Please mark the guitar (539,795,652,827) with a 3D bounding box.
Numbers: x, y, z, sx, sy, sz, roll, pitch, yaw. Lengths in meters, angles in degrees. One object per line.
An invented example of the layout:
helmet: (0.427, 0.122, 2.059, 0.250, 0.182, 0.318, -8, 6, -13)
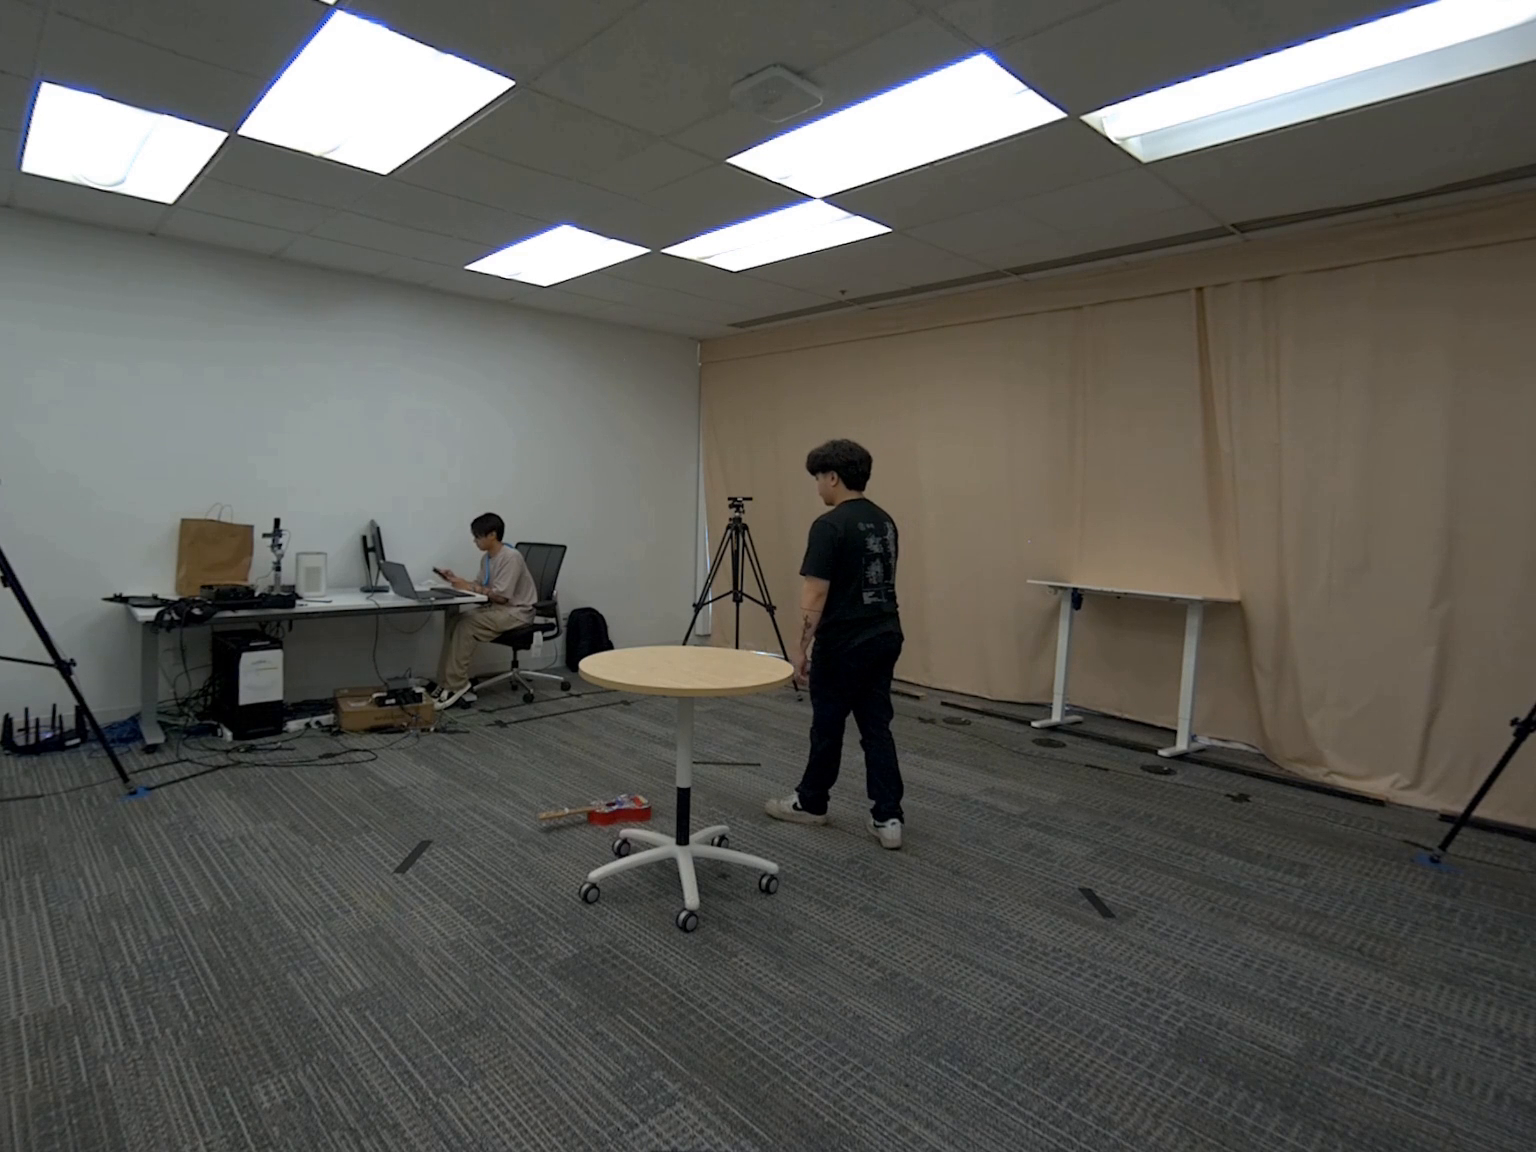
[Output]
guitar: (-0.765, 1.015, 3.629, 0.489, 0.070, 0.197, 0, 5, -22)
